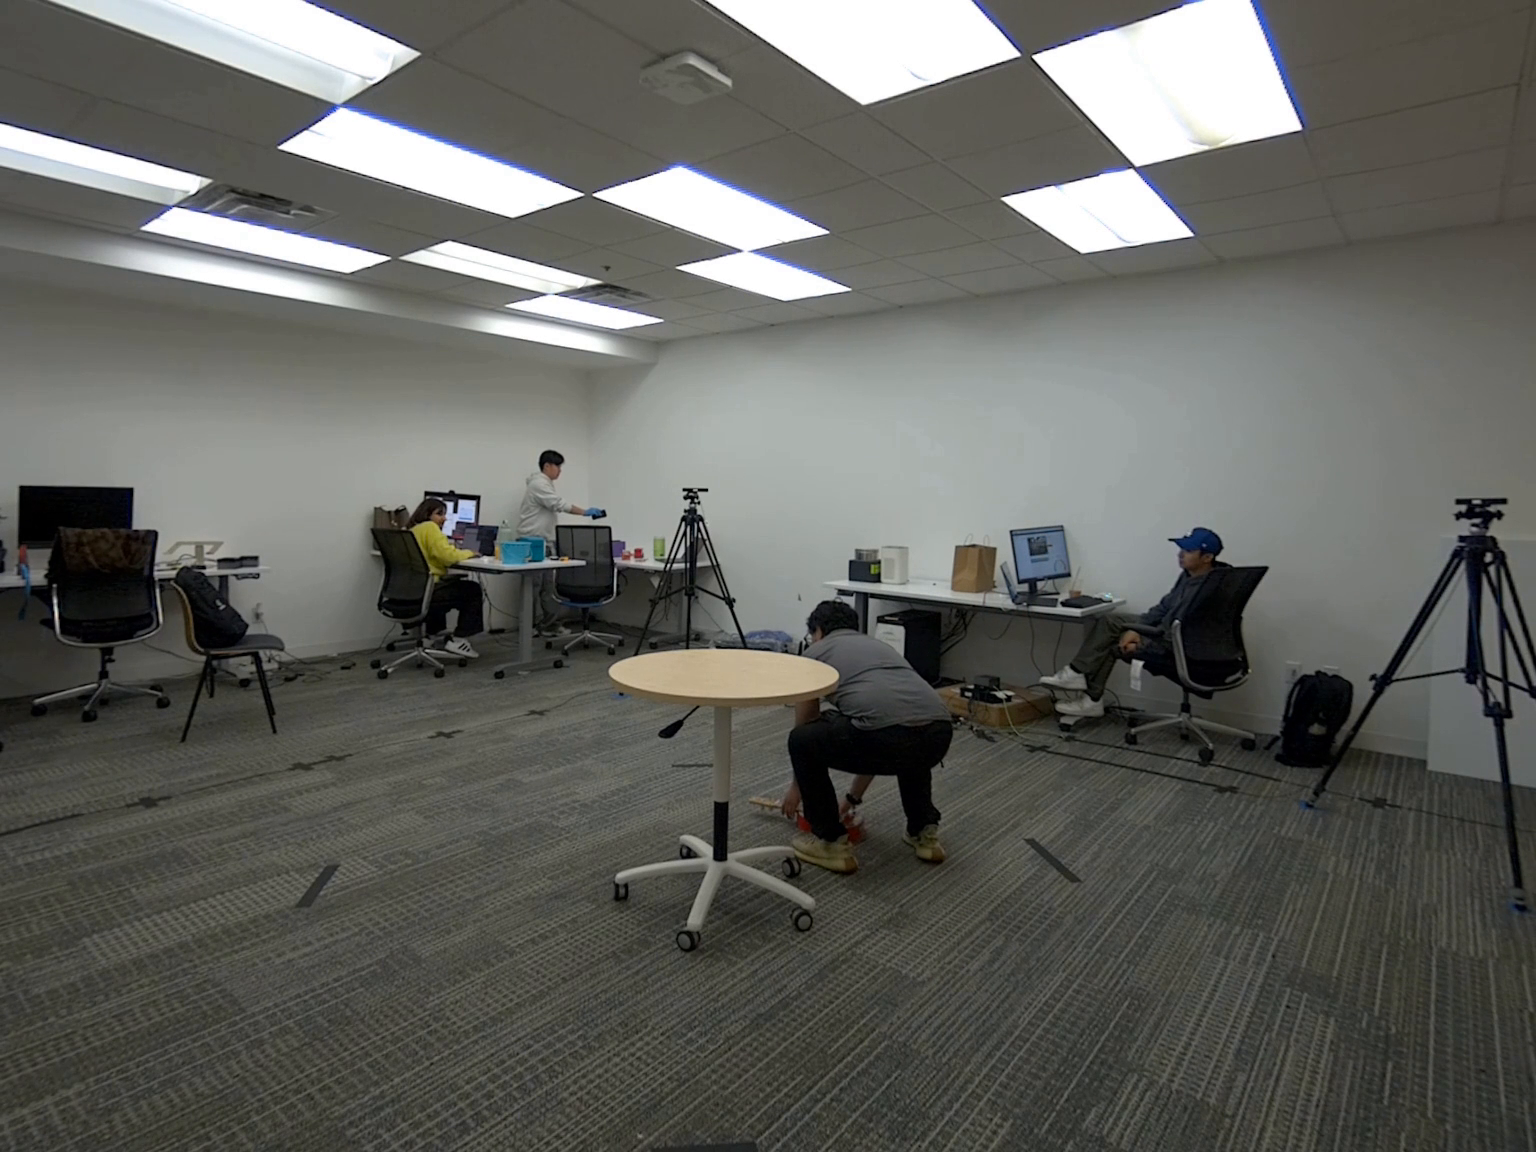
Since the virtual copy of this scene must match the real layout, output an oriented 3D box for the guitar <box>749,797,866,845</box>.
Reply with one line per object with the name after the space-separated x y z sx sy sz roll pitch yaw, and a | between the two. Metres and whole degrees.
0.160 0.994 3.582 0.513 0.070 0.188 5 6 34 | guitar
